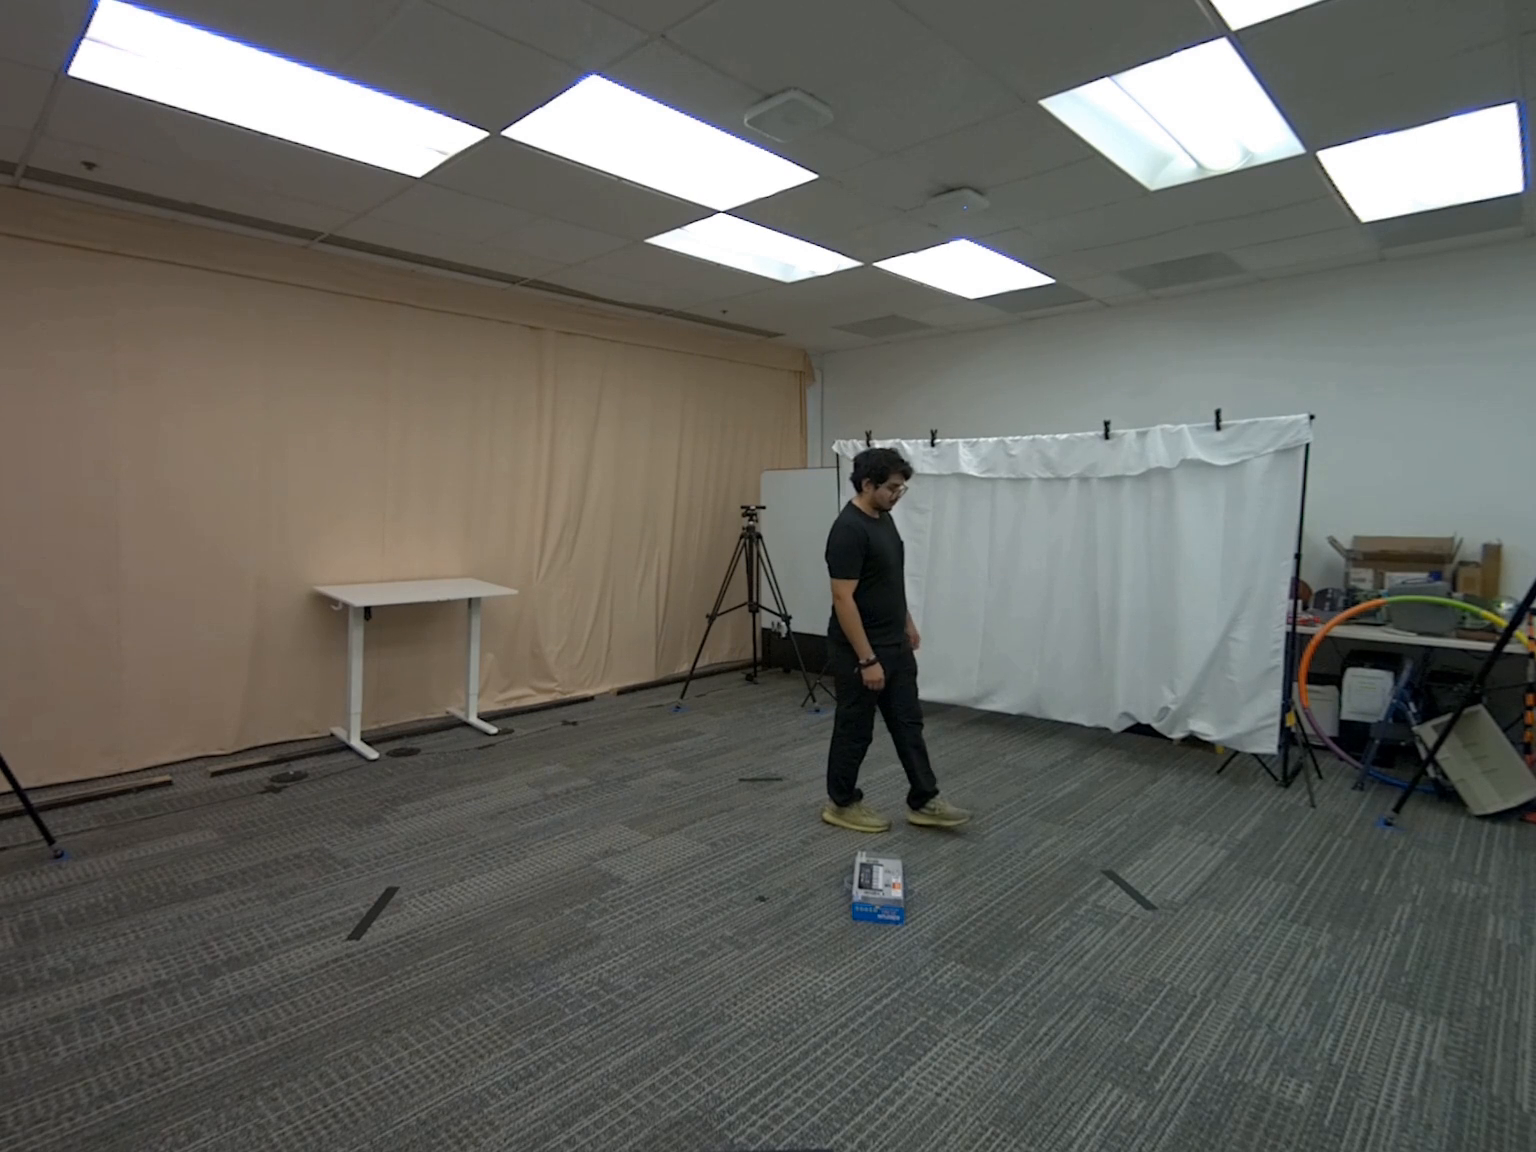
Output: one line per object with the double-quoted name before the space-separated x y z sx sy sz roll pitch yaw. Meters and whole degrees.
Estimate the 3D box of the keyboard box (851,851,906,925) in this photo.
"keyboard box" 0.398 1.107 3.024 0.178 0.059 0.433 2 5 8
